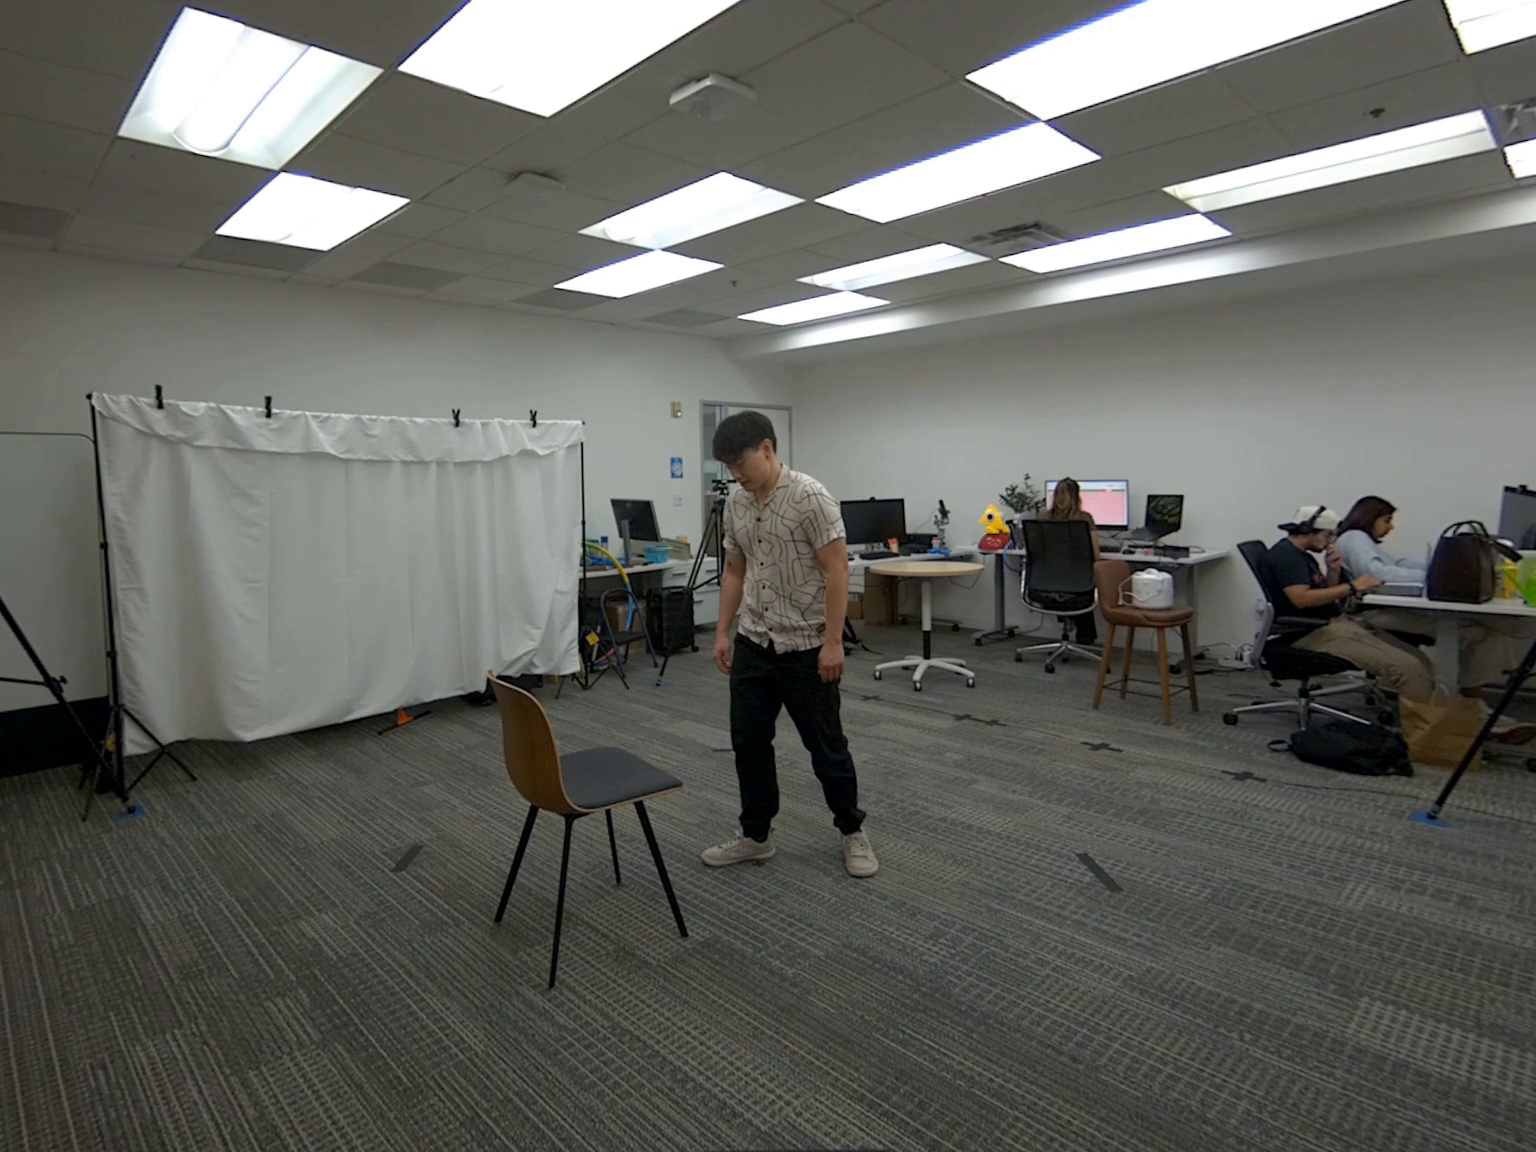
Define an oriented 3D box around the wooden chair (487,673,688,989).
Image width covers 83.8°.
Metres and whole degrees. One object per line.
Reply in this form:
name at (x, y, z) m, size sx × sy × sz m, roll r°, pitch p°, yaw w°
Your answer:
wooden chair at (-0.561, 0.684, 2.652) m, size 0.511 × 0.872 × 0.492 m, roll -10°, pitch 8°, yaw -35°
